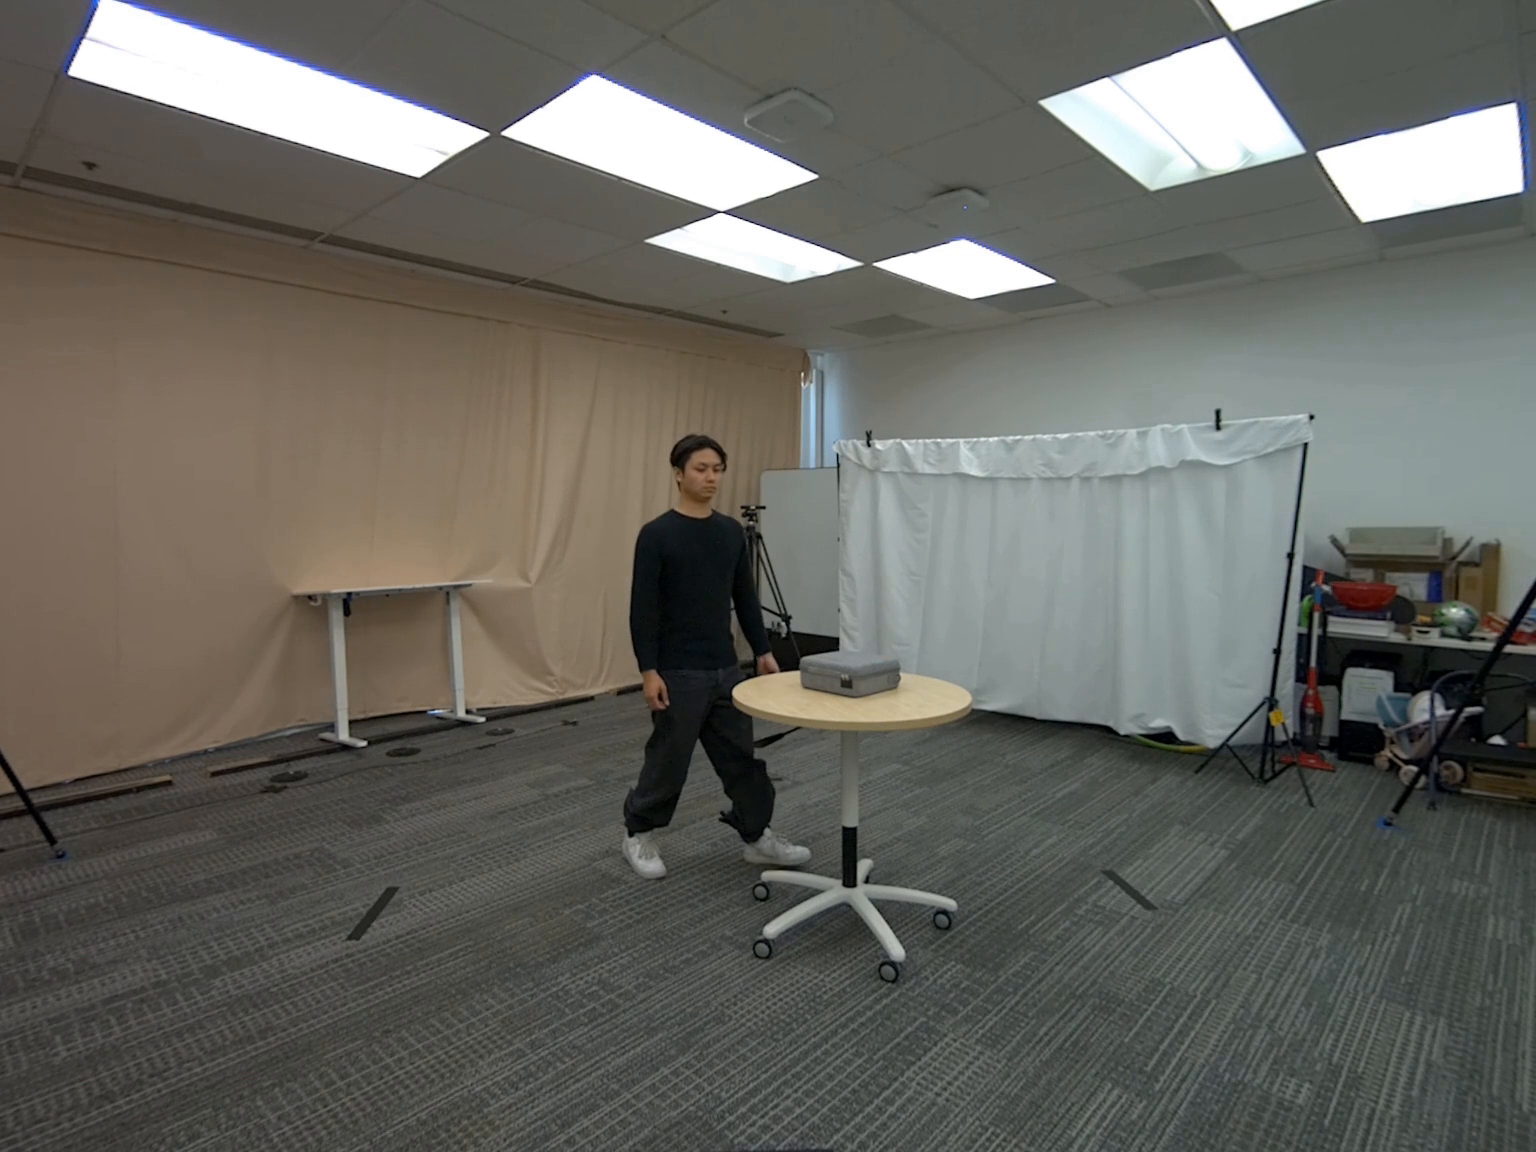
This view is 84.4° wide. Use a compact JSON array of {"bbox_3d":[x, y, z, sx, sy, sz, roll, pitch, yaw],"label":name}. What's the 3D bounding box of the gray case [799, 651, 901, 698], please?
[{"bbox_3d":[0.278,0.319,2.813,0.252,0.104,0.265,-4,5,-44],"label":"gray case"}]
